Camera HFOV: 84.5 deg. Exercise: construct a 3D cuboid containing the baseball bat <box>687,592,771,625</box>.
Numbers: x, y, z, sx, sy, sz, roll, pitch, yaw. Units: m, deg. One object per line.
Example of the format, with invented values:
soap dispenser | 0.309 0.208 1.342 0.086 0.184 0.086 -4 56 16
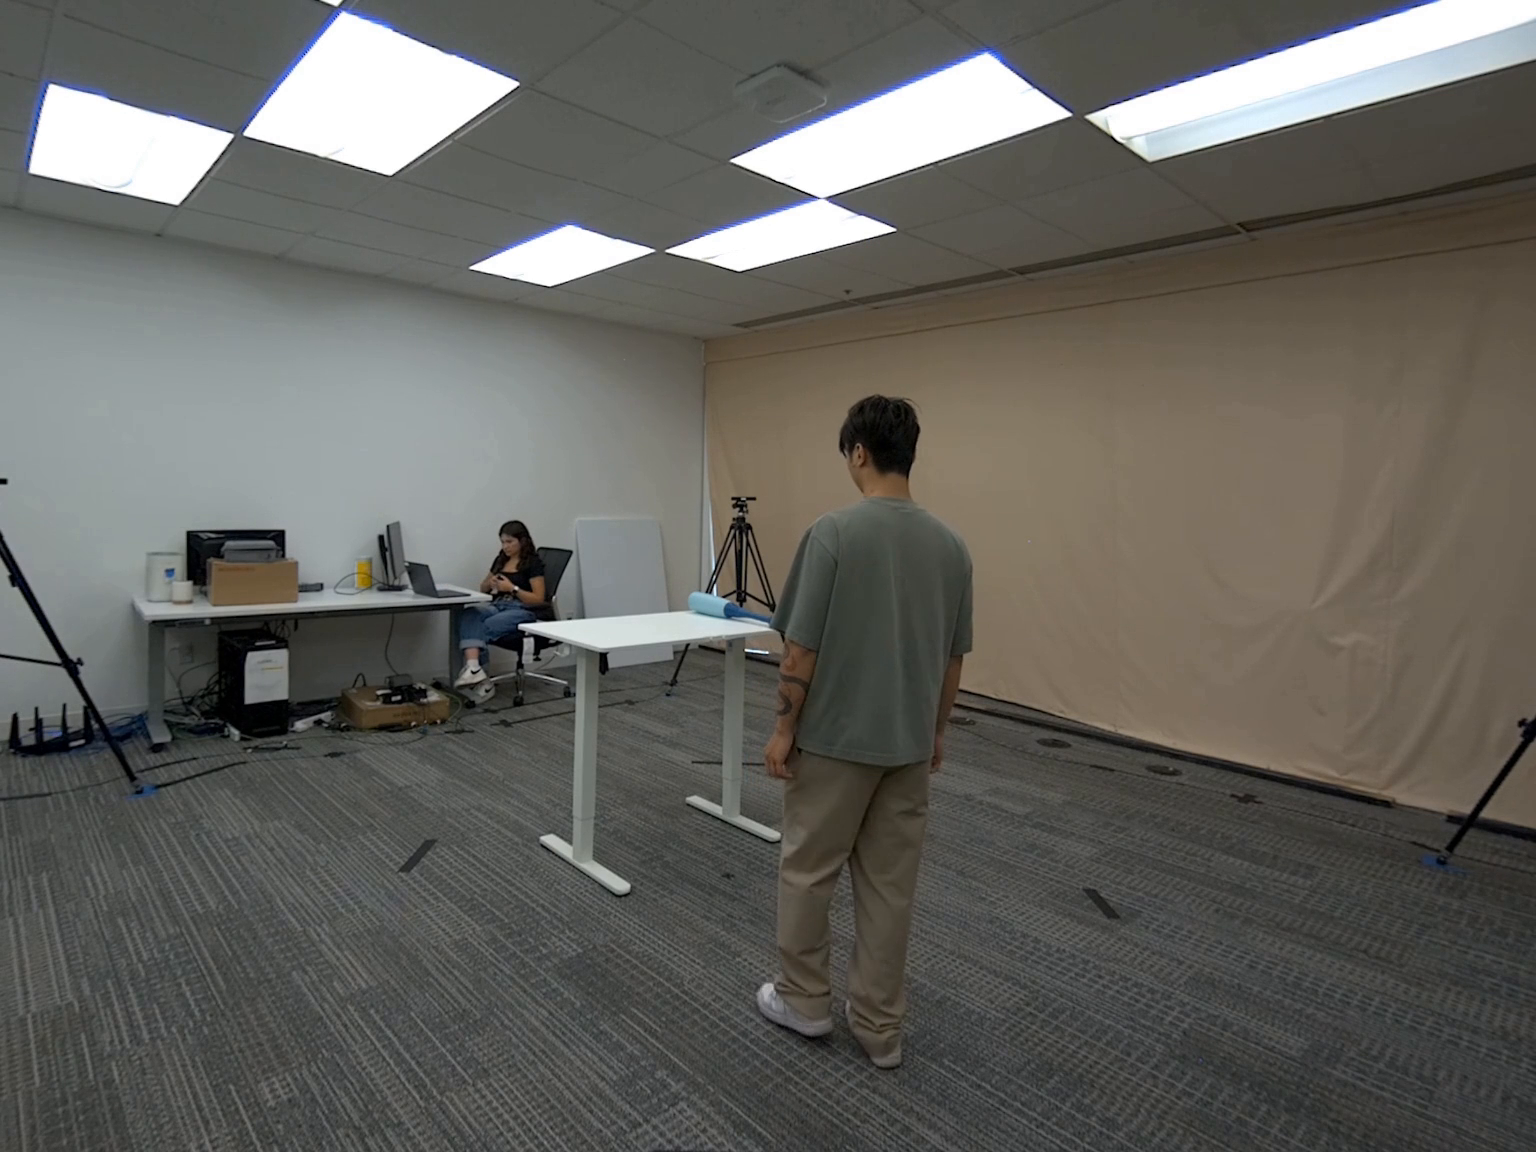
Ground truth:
baseball bat | -0.156 0.149 3.581 0.087 0.088 0.558 -2 10 -42
